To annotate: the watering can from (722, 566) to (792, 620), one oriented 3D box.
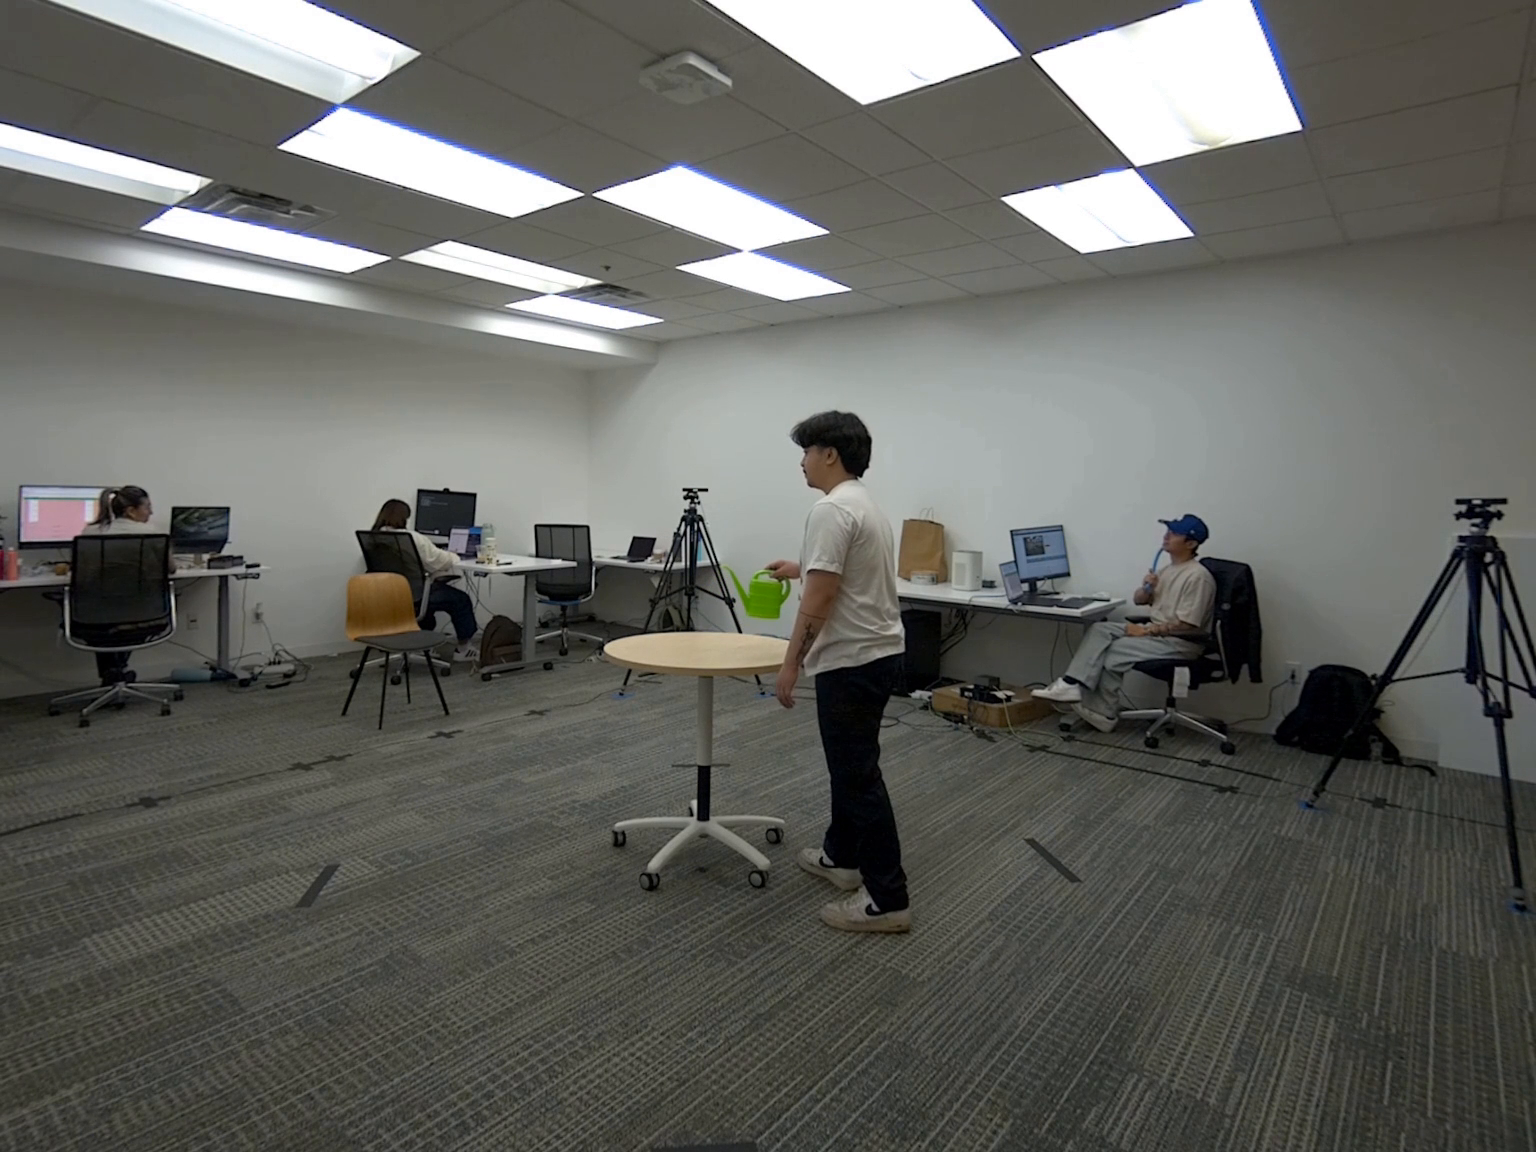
[{"bbox_3d":[-0.058,0.062,3.149,0.279,0.176,0.098,7,4,1],"label":"watering can"}]
